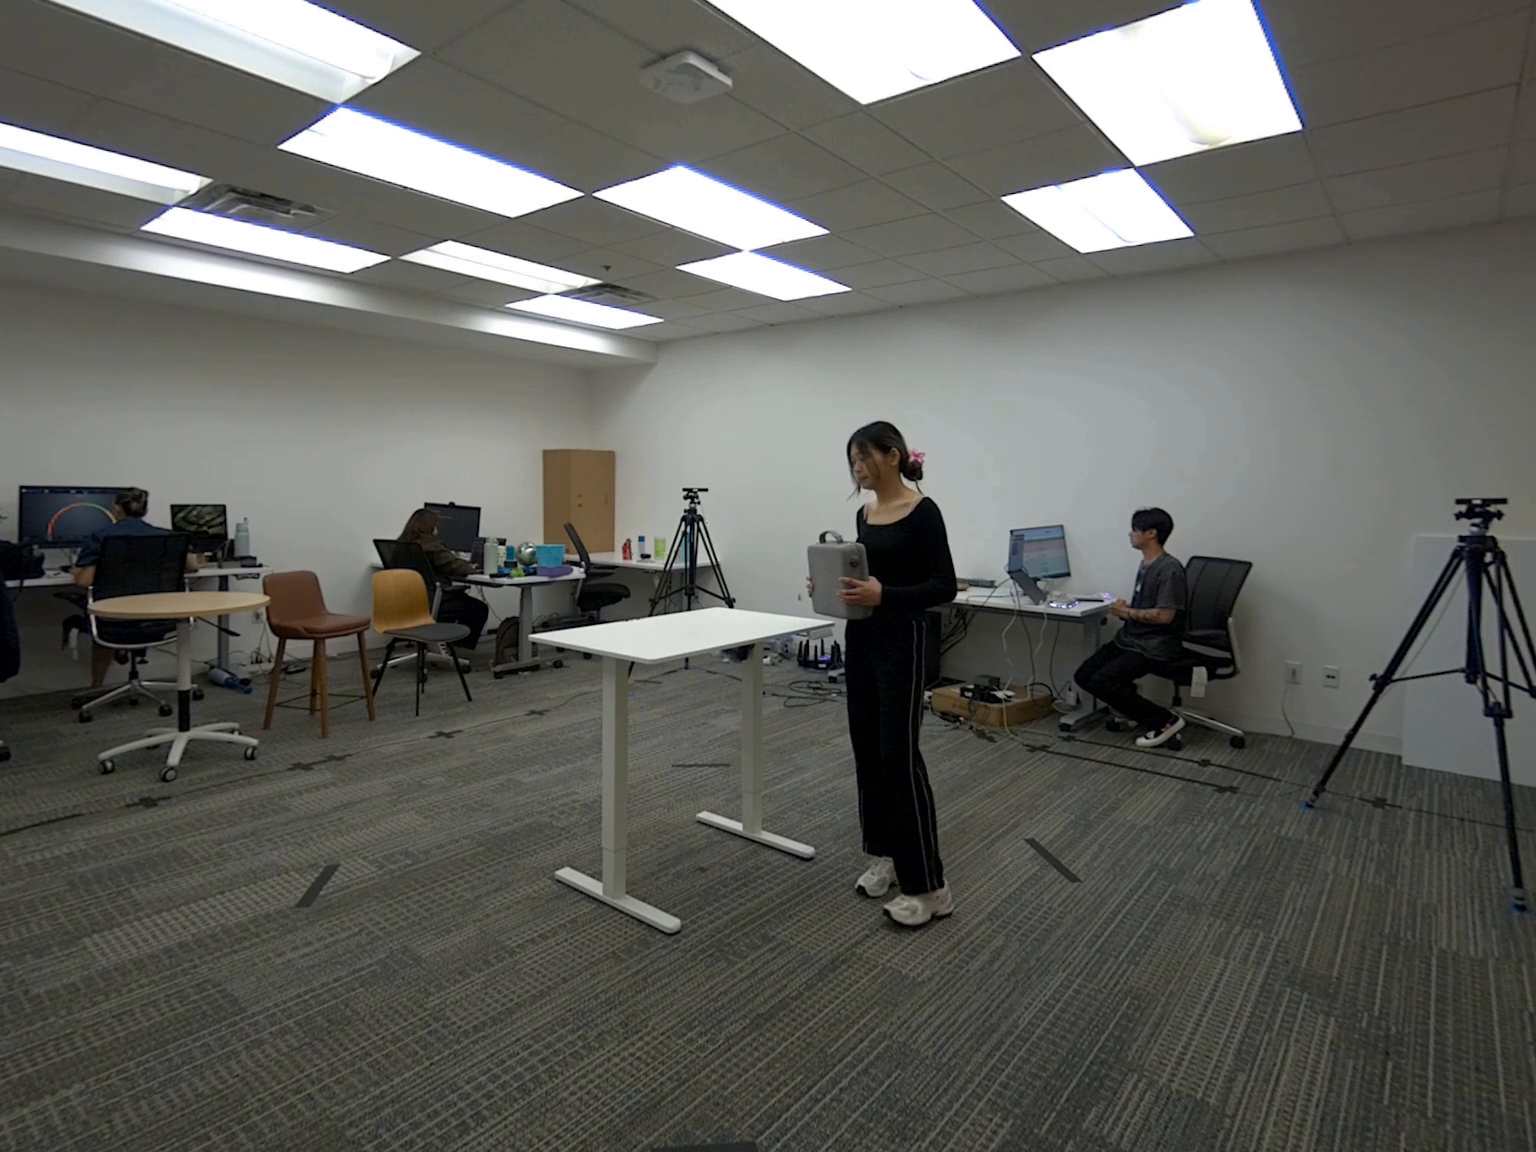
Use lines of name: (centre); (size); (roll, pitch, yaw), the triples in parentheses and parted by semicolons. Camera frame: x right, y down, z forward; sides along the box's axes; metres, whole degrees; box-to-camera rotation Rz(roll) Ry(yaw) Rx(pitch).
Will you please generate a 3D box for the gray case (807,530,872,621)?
gray case: (0.236, 0.005, 2.875); (0.102, 0.260, 0.263); (-8, 5, -22)
